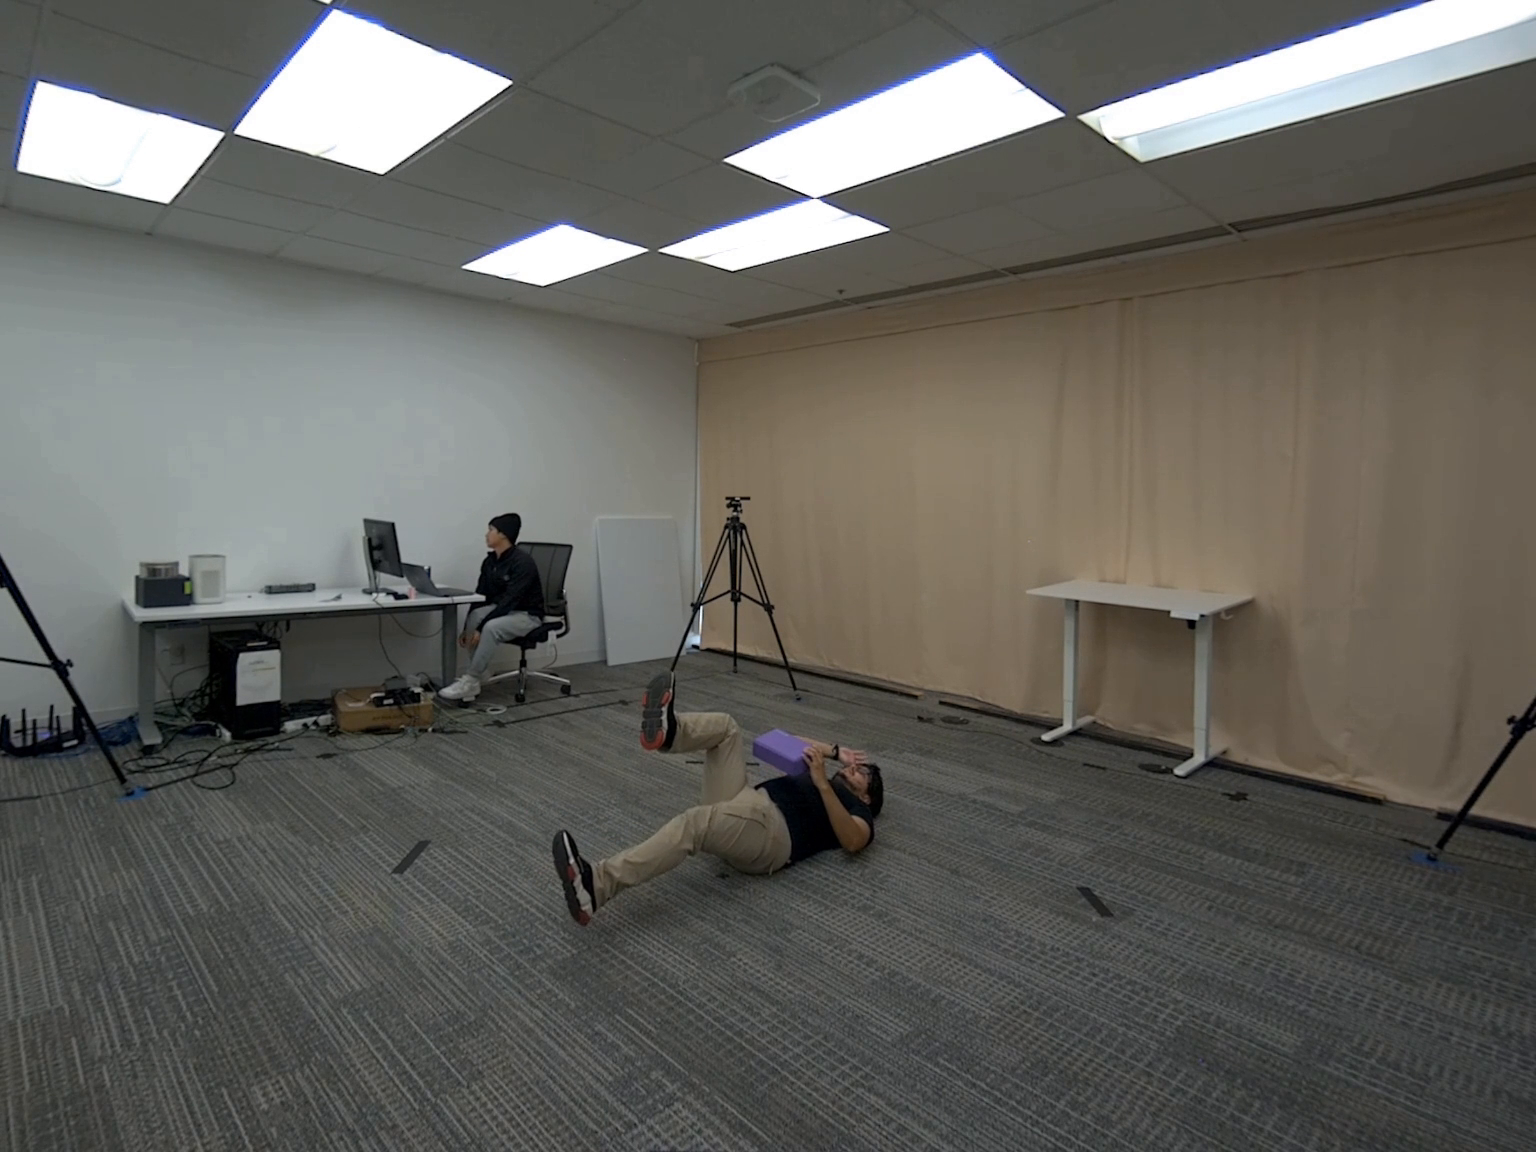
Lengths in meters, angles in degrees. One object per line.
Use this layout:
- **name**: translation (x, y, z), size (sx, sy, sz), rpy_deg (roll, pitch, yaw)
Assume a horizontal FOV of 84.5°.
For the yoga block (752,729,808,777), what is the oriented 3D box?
- **yoga block**: translation (0.055, 0.697, 3.318), size (0.236, 0.075, 0.146), rpy_deg (16, 22, 39)
